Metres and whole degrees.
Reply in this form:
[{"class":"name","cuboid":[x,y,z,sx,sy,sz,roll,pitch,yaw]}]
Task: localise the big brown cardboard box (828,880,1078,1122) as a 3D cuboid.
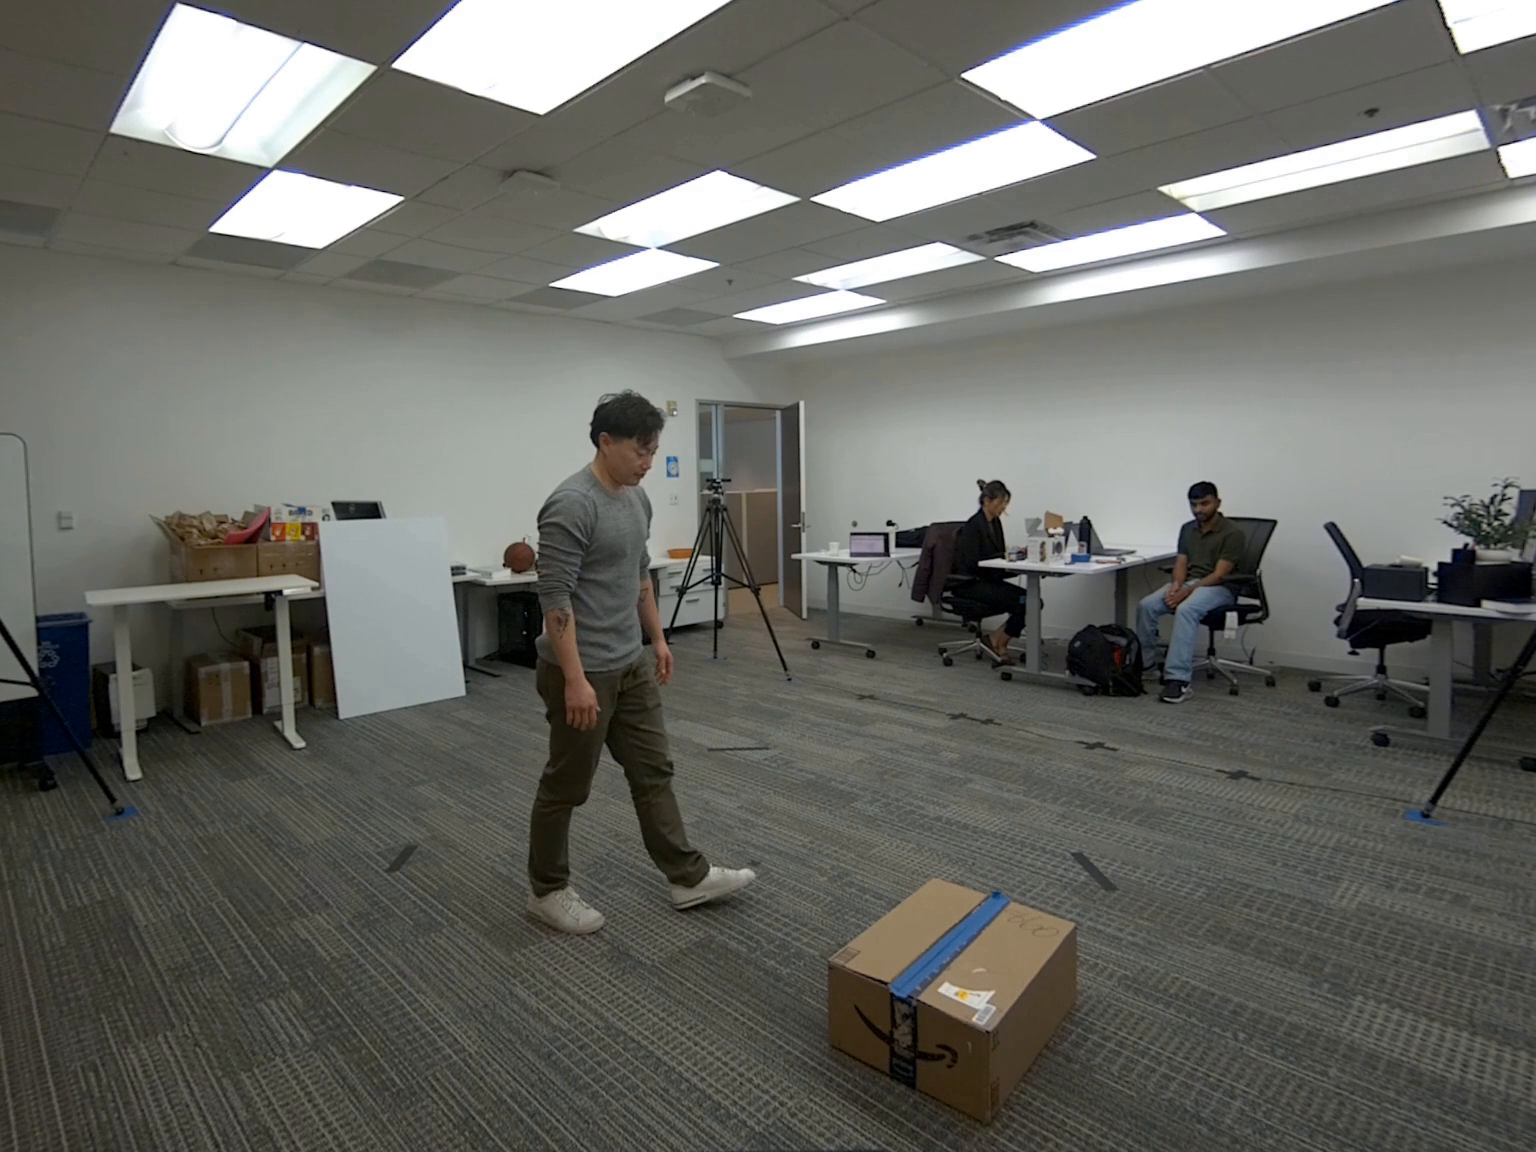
[{"class":"big brown cardboard box","cuboid":[0.482,1.033,2.167,0.430,0.232,0.574,4,7,39]}]
